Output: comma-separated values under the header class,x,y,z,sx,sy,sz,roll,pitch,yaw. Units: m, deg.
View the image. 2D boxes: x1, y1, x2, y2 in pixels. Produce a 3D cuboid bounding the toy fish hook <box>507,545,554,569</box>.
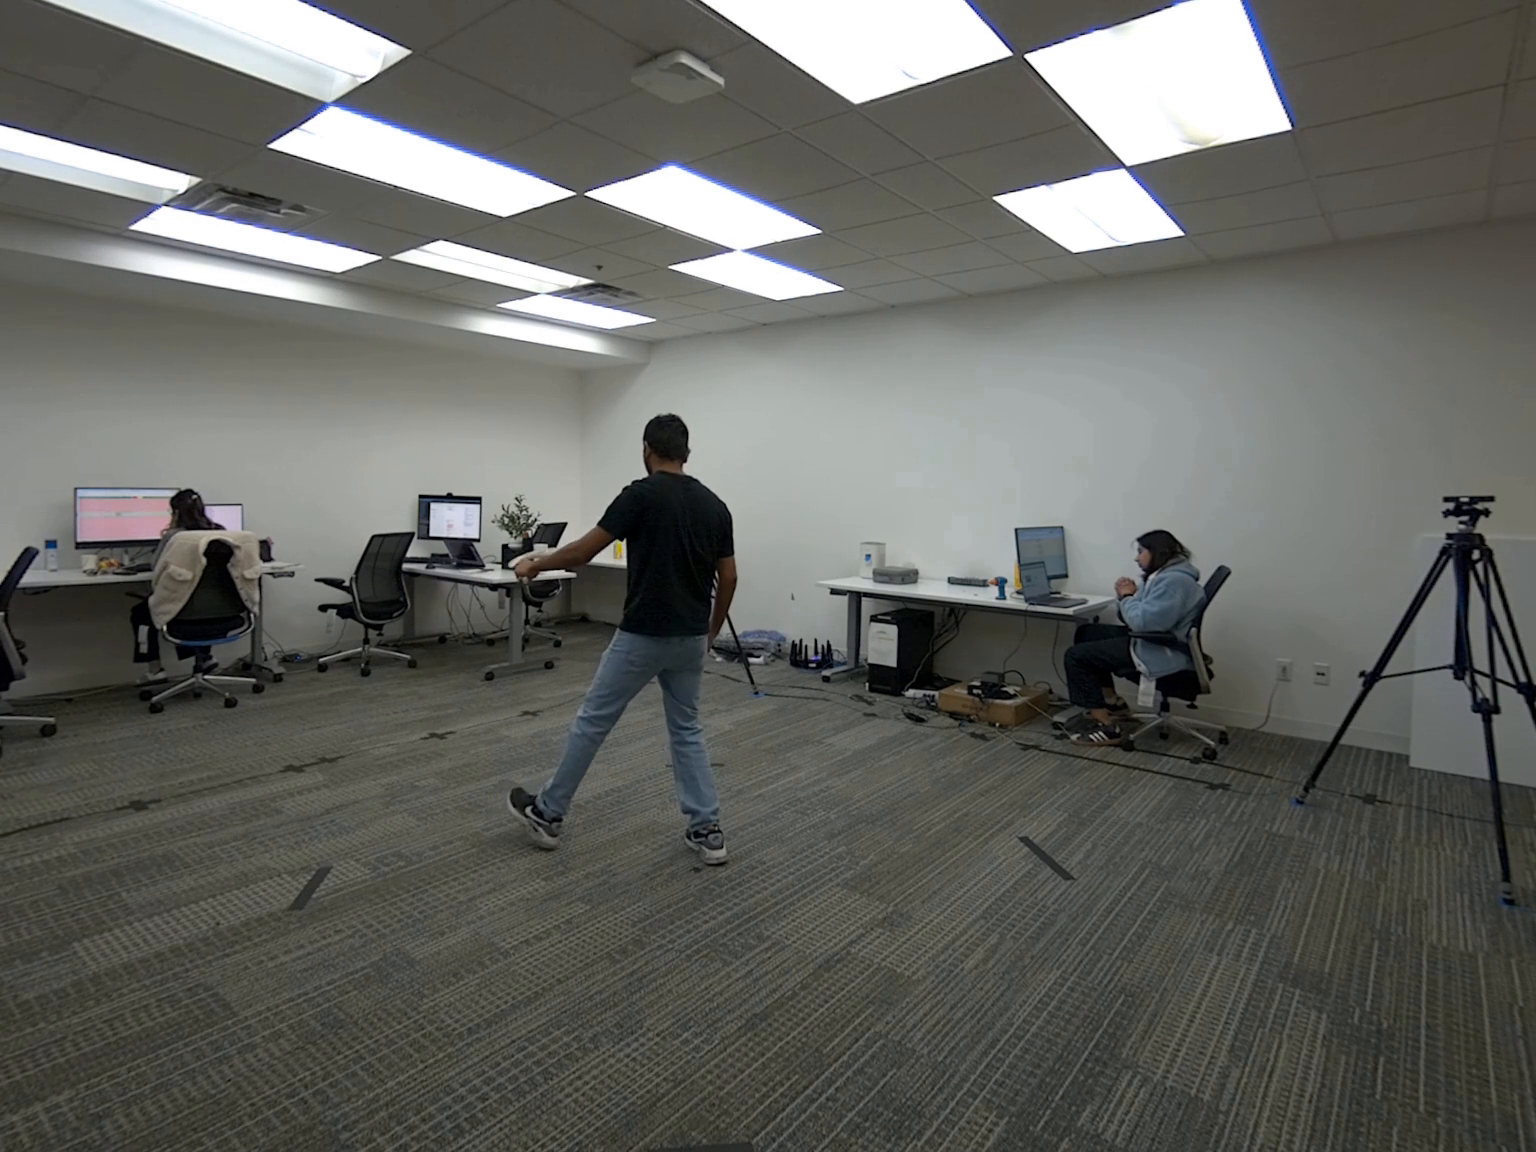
class,x,y,z,sx,sy,sz,roll,pitch,yaw
toy fish hook,-1.012,-0.035,3.505,0.224,0.047,0.513,-15,13,-1
